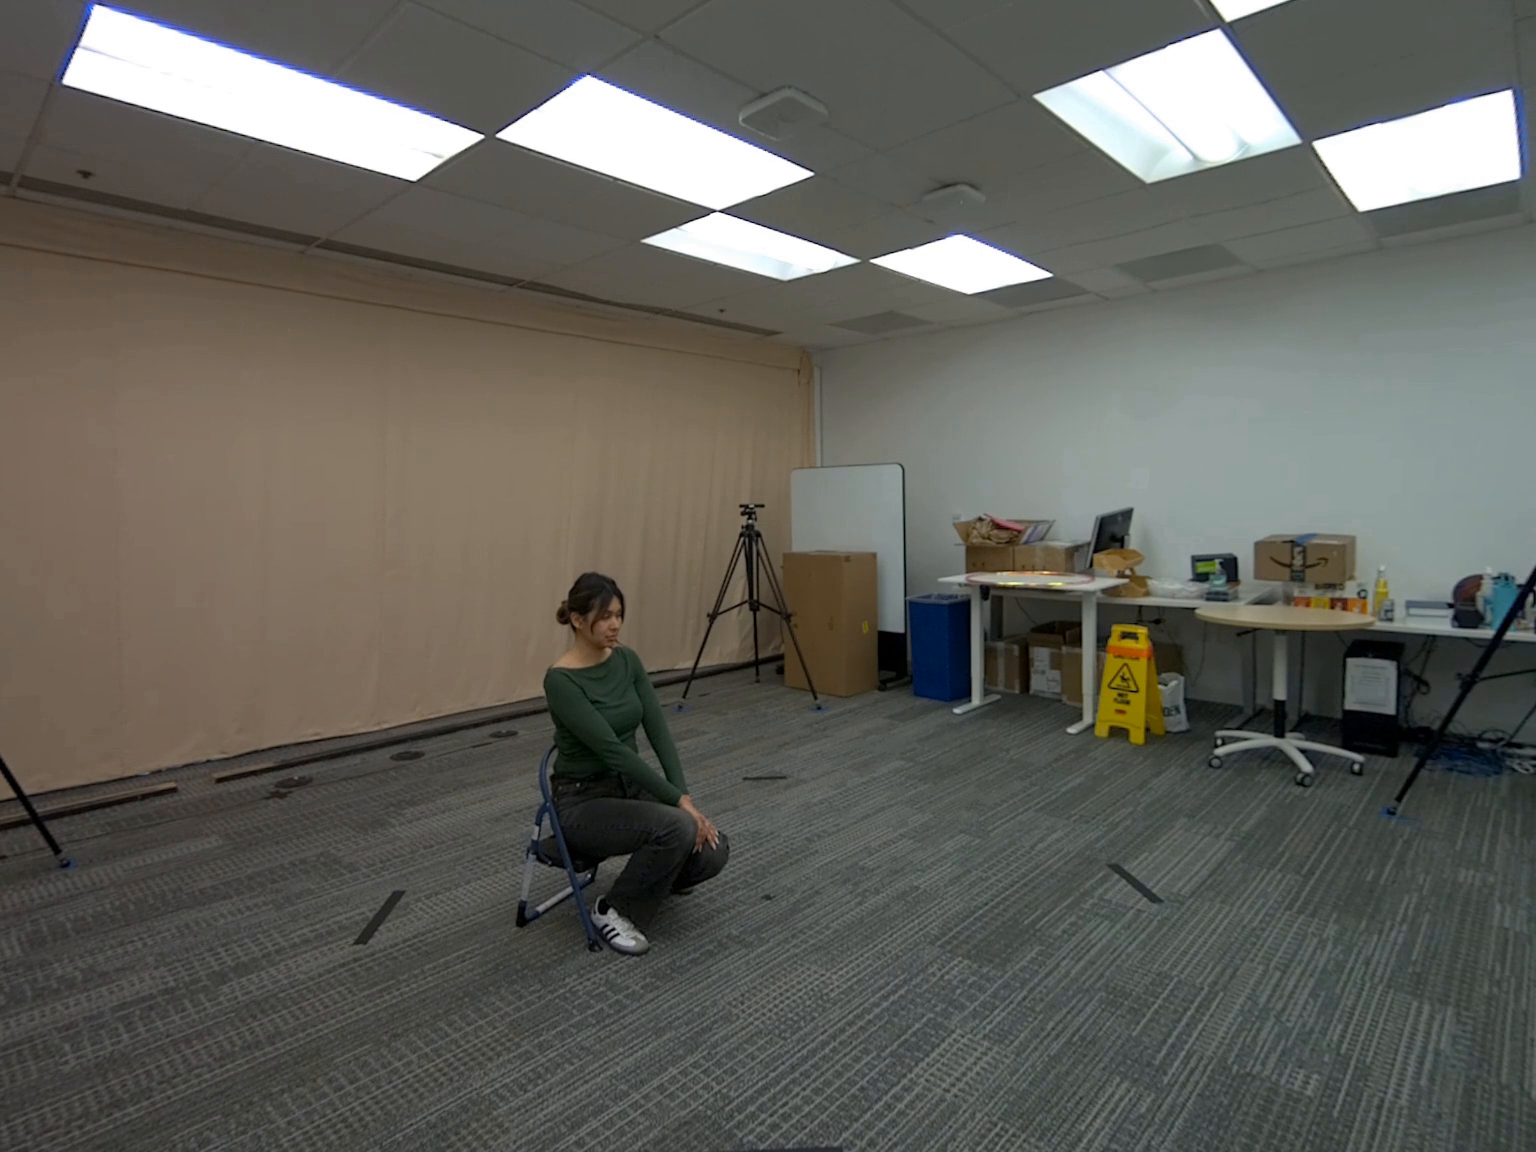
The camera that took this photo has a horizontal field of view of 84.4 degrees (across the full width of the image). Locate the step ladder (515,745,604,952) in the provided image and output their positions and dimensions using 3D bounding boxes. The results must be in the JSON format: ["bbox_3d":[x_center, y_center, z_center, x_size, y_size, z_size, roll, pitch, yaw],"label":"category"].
[{"bbox_3d":[-0.614,0.866,2.898,0.359,0.605,0.420,0,3,27],"label":"step ladder"}]
